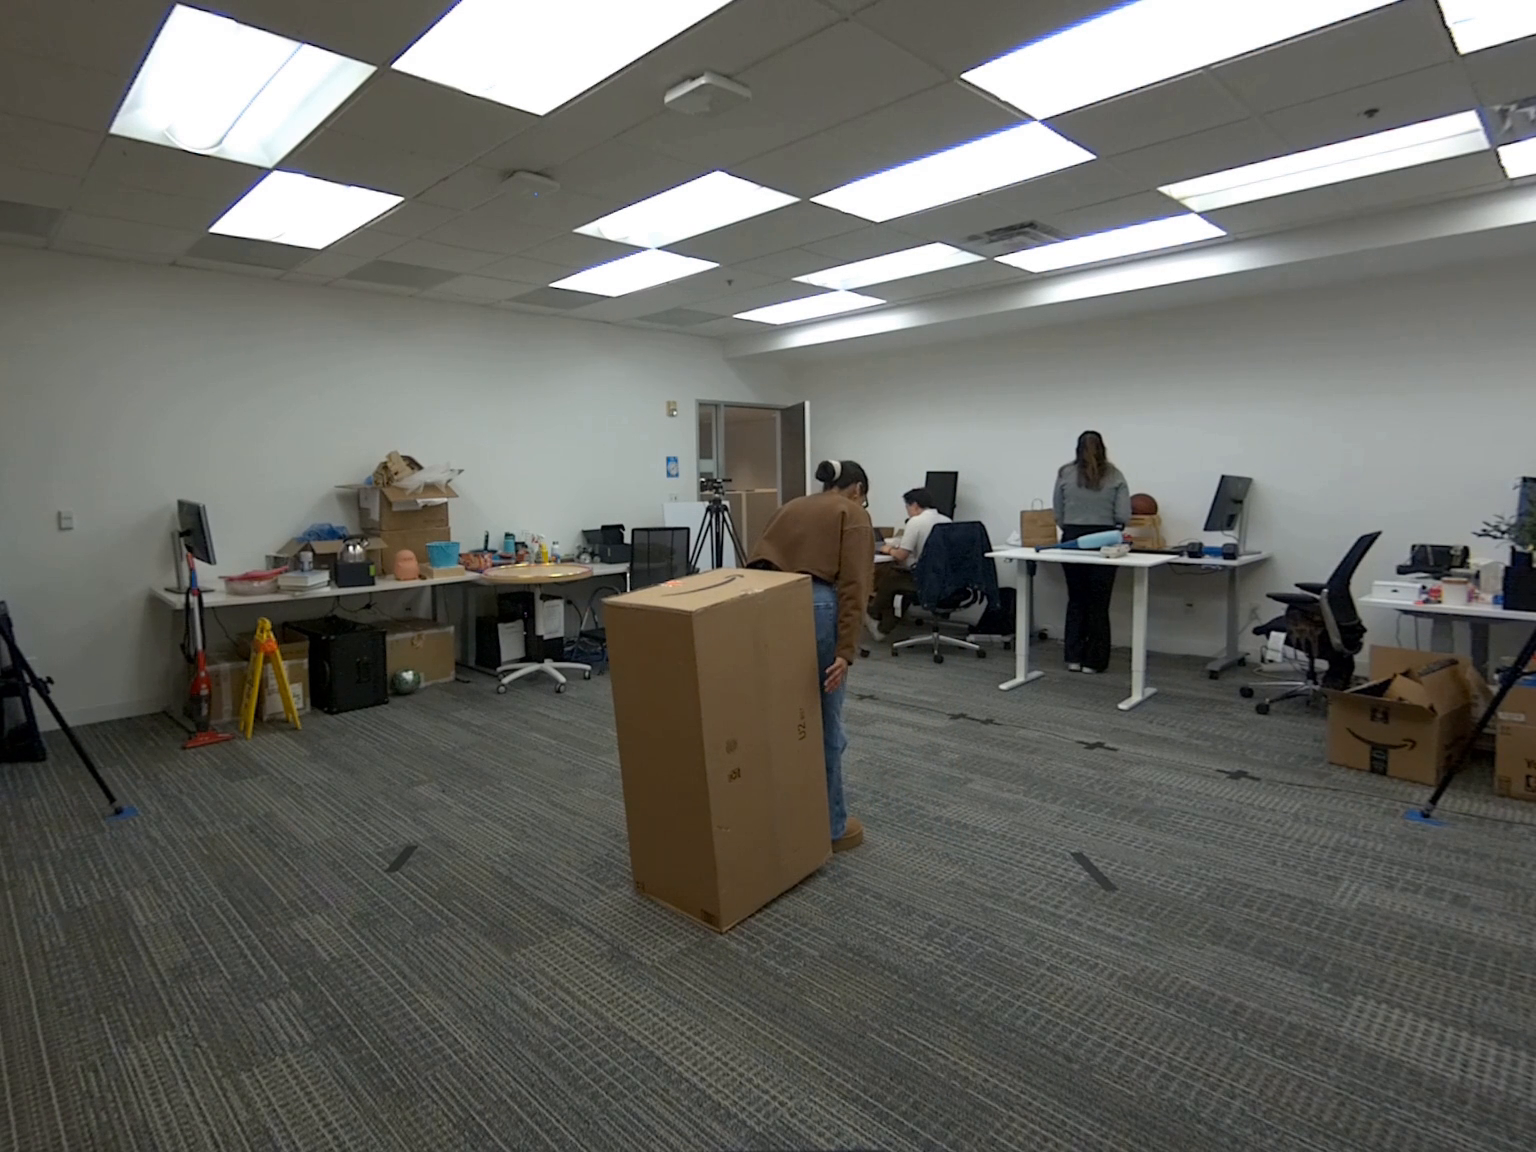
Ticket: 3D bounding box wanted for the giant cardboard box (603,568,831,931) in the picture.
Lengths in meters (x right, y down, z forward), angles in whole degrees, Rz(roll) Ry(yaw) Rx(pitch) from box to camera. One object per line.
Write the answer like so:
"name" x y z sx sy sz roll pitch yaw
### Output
"giant cardboard box" -0.160 0.540 2.904 0.460 1.019 0.571 3 11 41
